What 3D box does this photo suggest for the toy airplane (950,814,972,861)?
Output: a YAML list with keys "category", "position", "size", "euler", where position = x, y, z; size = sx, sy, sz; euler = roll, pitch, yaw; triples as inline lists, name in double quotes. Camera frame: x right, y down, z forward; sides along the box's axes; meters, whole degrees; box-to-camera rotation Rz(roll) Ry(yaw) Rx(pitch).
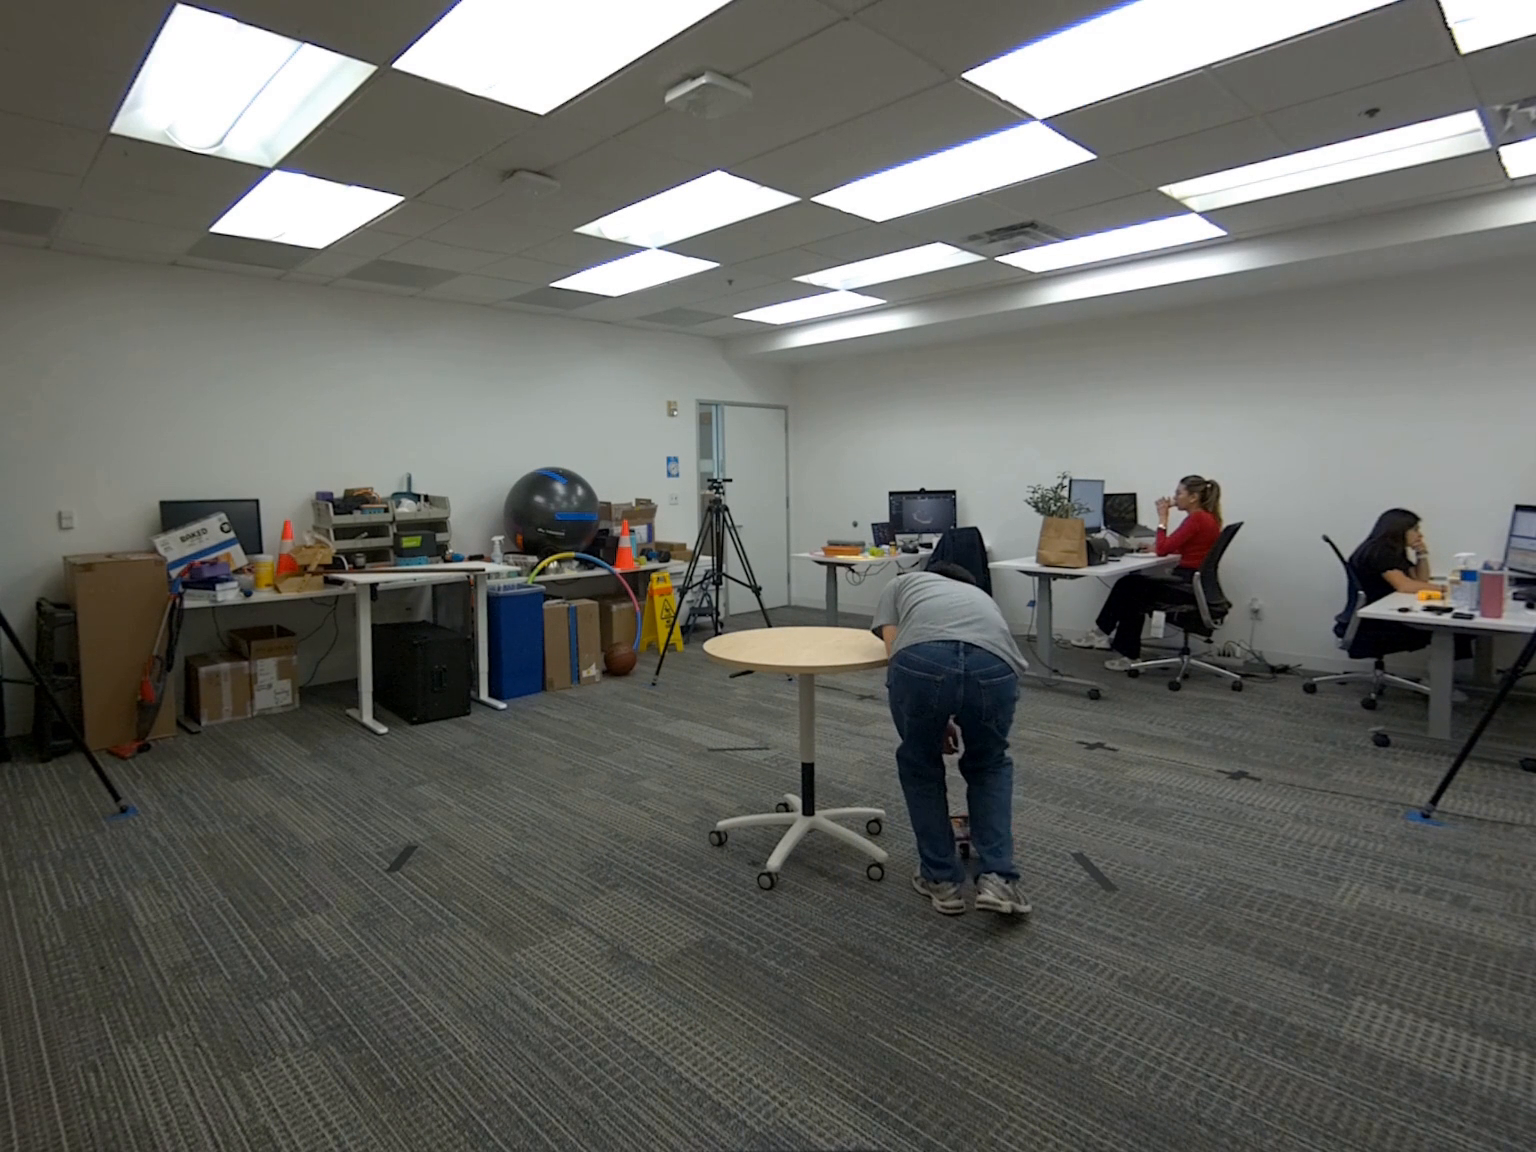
- category: "toy airplane"
  position: [0.777, 0.924, 3.076]
  size: [0.245, 0.160, 0.259]
  euler: [14, -33, -23]
